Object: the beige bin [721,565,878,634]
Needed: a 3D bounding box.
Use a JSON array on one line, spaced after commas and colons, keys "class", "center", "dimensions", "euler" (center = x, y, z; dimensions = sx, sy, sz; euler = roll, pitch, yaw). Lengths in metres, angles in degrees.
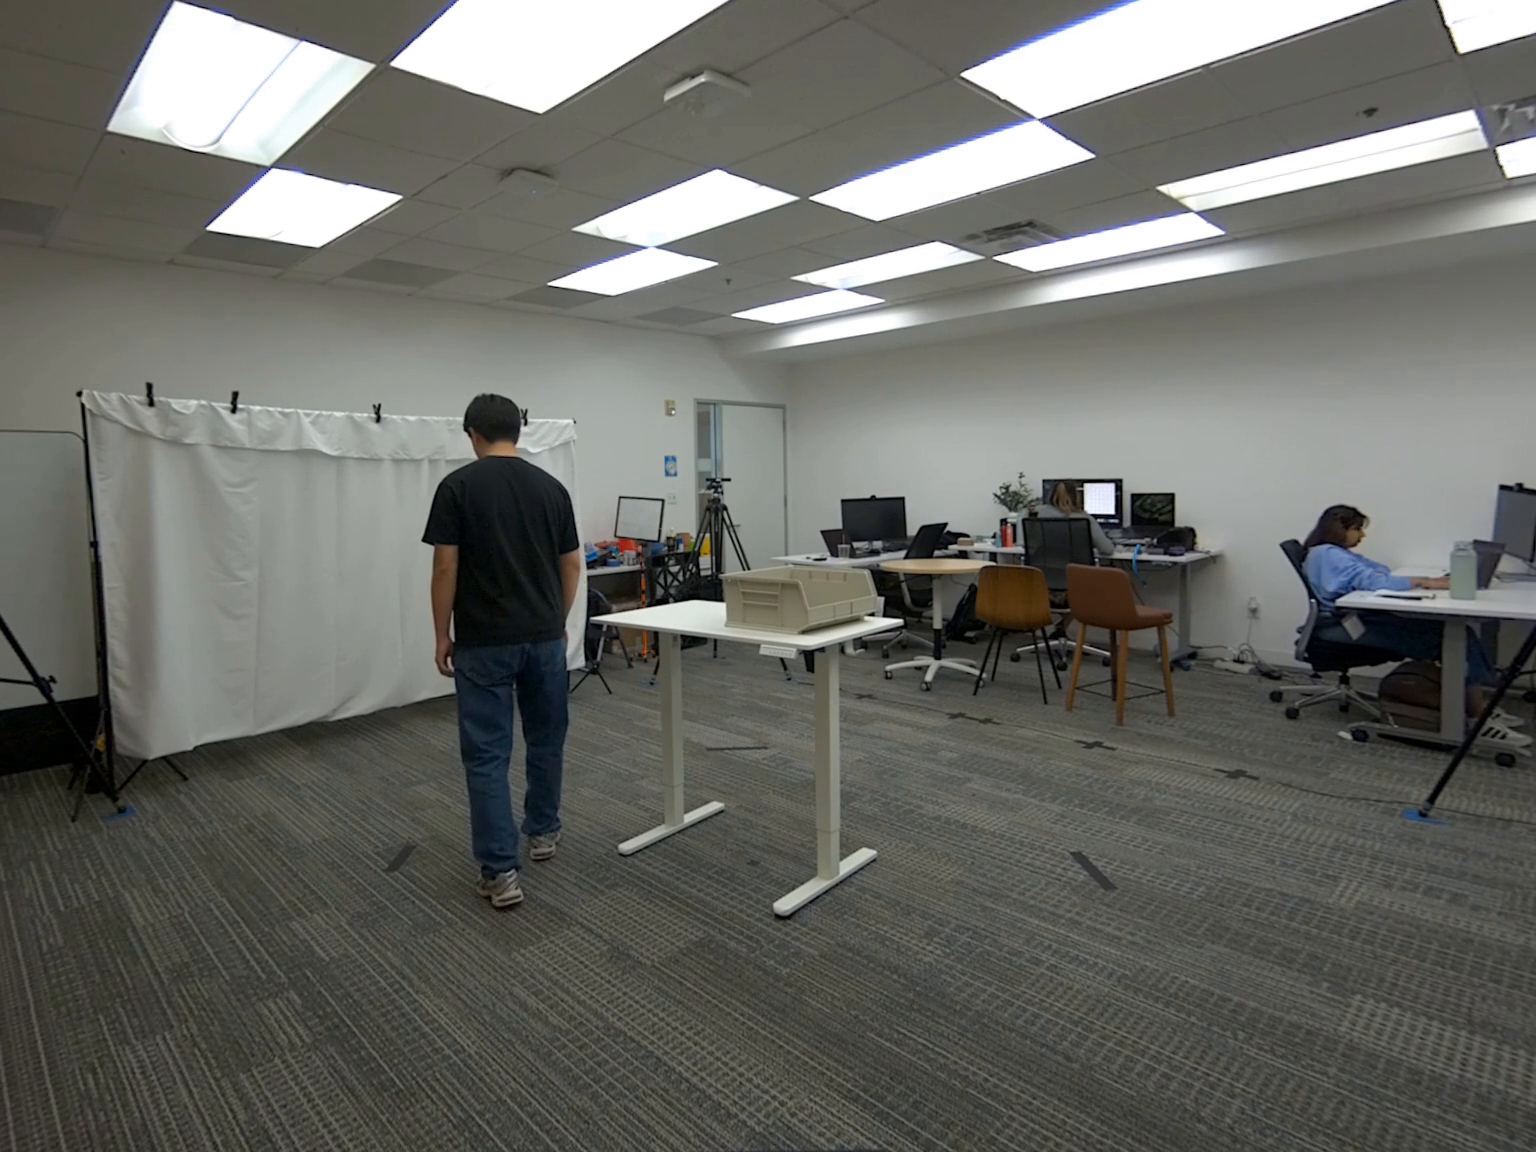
[{"class": "beige bin", "center": [0.115, 0.081, 2.991], "dimensions": [0.388, 0.188, 0.411], "euler": [2, 6, 41]}]
